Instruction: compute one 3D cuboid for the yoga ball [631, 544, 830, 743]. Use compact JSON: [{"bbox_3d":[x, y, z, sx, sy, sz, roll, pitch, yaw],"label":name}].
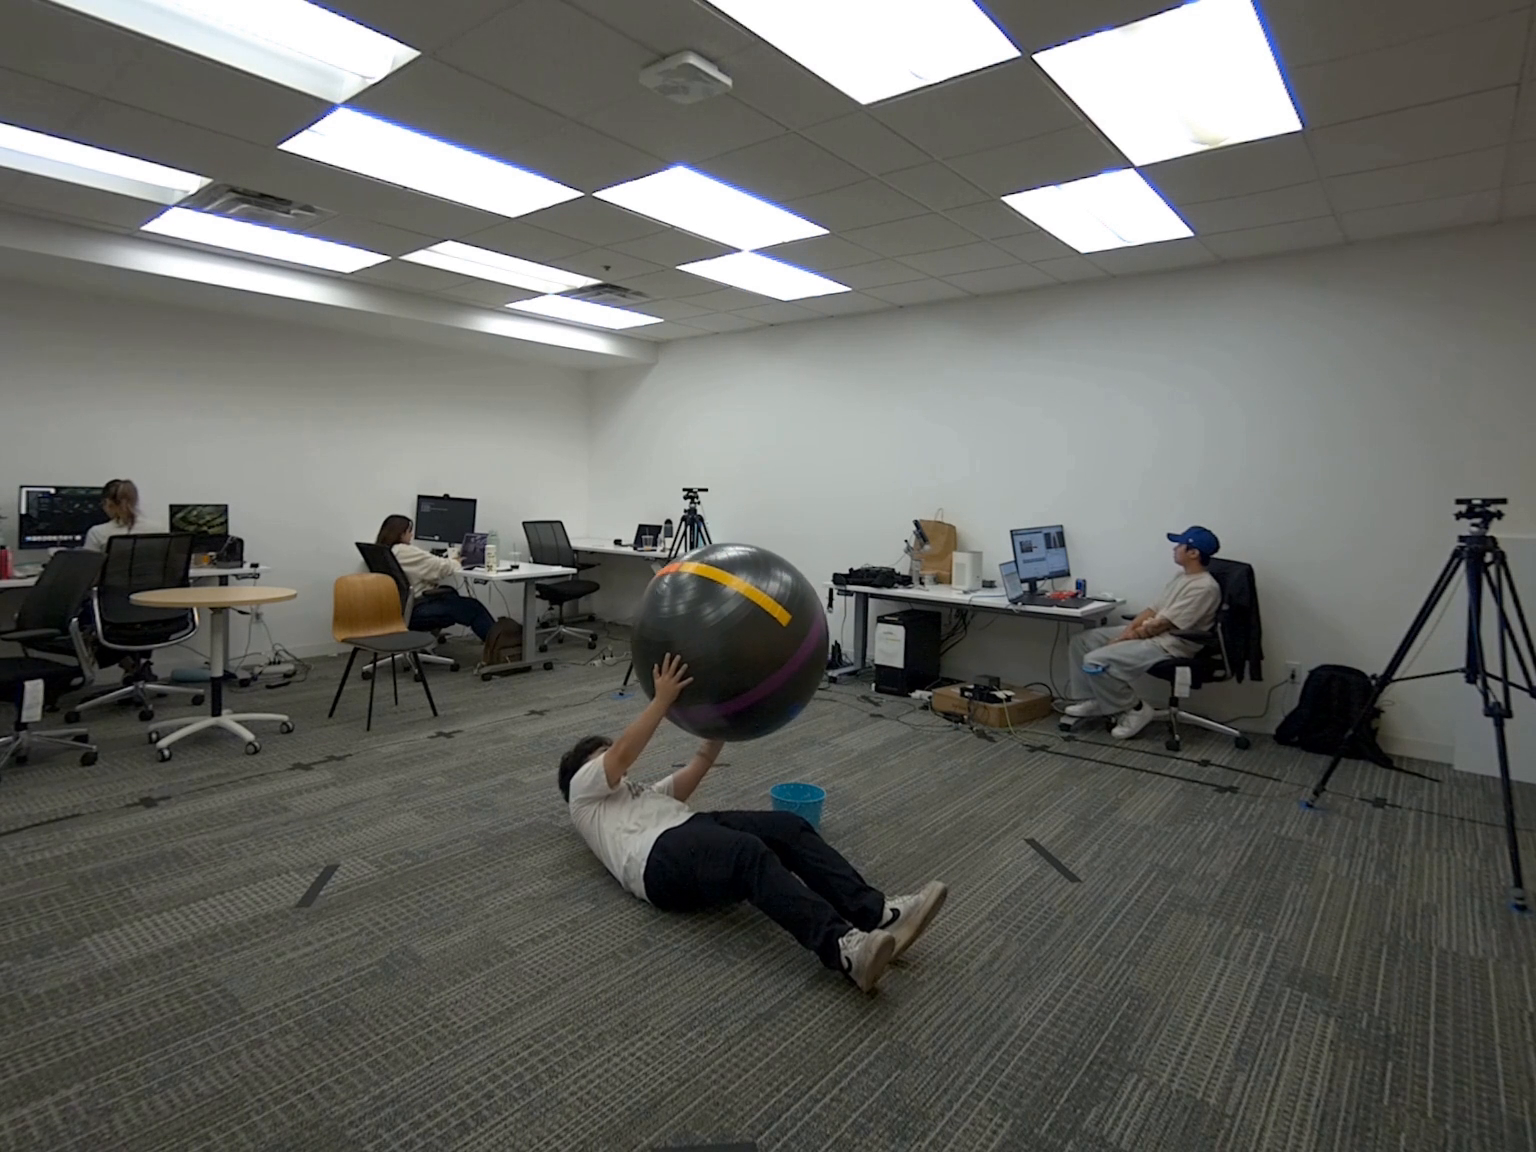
[{"bbox_3d":[-0.157,0.251,3.265,0.757,0.756,0.761,1,4,-2],"label":"yoga ball"}]
